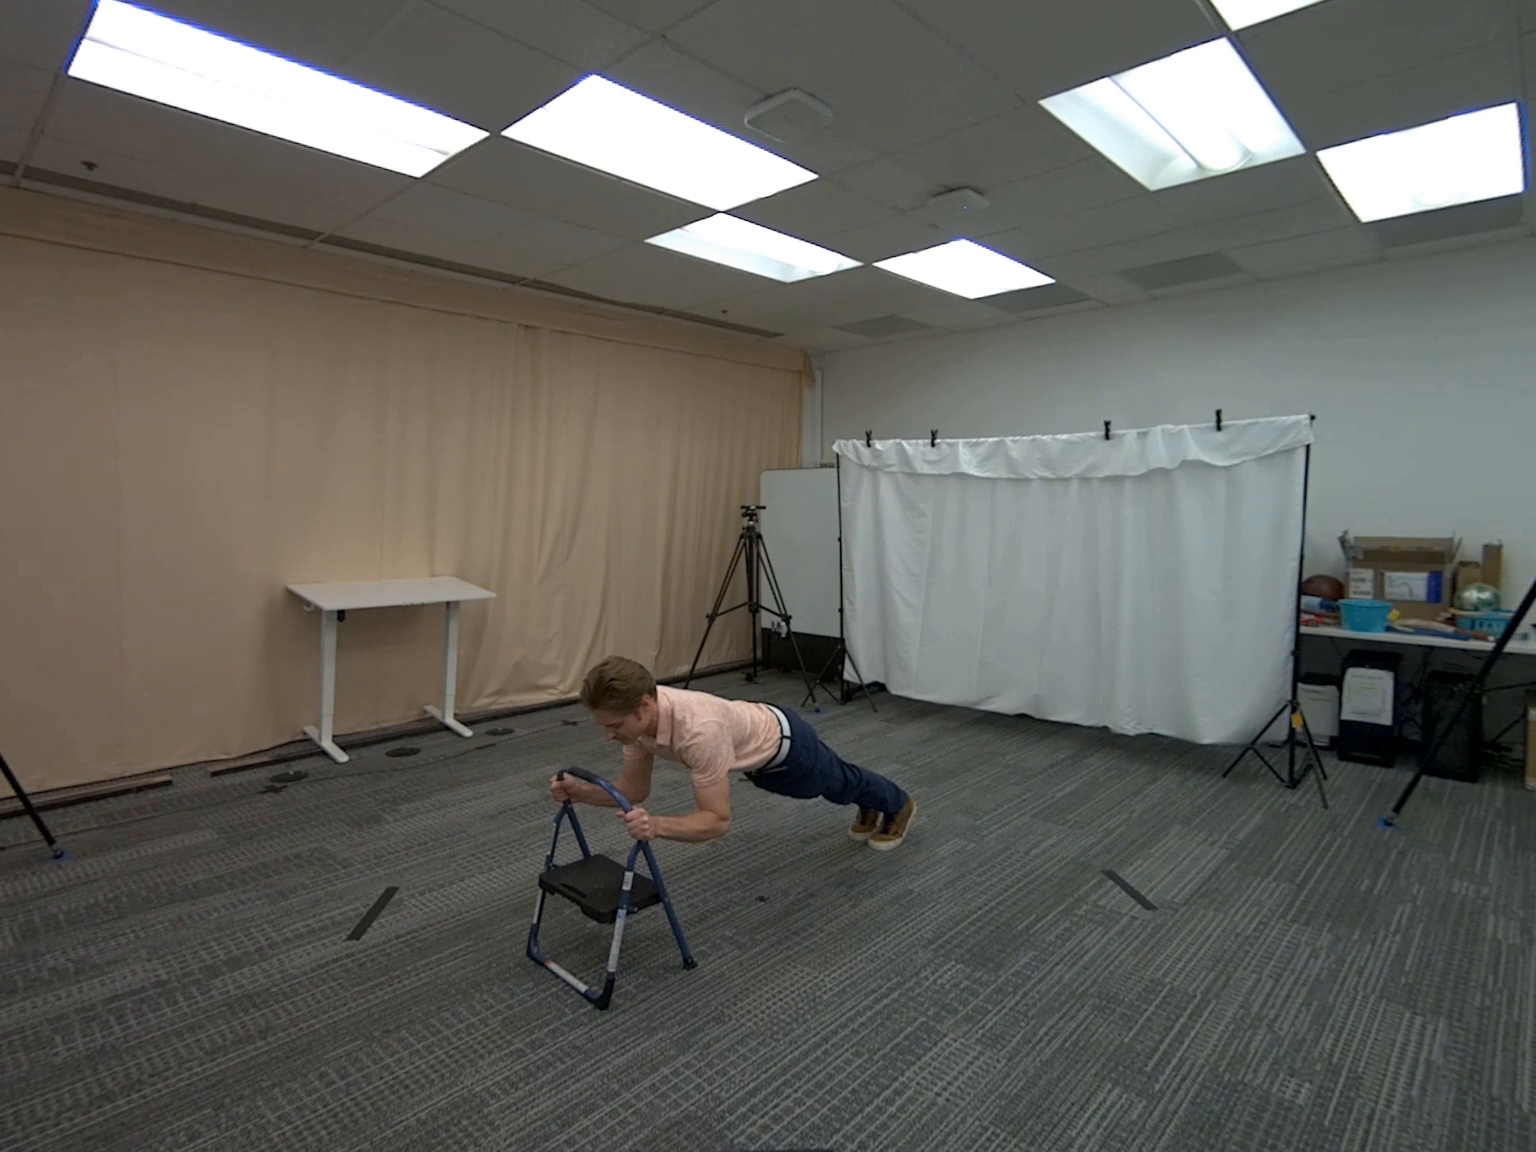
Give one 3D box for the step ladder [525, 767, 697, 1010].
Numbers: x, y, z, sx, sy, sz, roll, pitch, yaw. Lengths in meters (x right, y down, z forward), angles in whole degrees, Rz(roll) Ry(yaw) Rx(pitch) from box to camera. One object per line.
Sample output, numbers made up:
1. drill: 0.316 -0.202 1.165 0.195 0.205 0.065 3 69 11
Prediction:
1. step ladder: -0.488 0.883 2.566 0.445 0.605 0.338 3 5 44
